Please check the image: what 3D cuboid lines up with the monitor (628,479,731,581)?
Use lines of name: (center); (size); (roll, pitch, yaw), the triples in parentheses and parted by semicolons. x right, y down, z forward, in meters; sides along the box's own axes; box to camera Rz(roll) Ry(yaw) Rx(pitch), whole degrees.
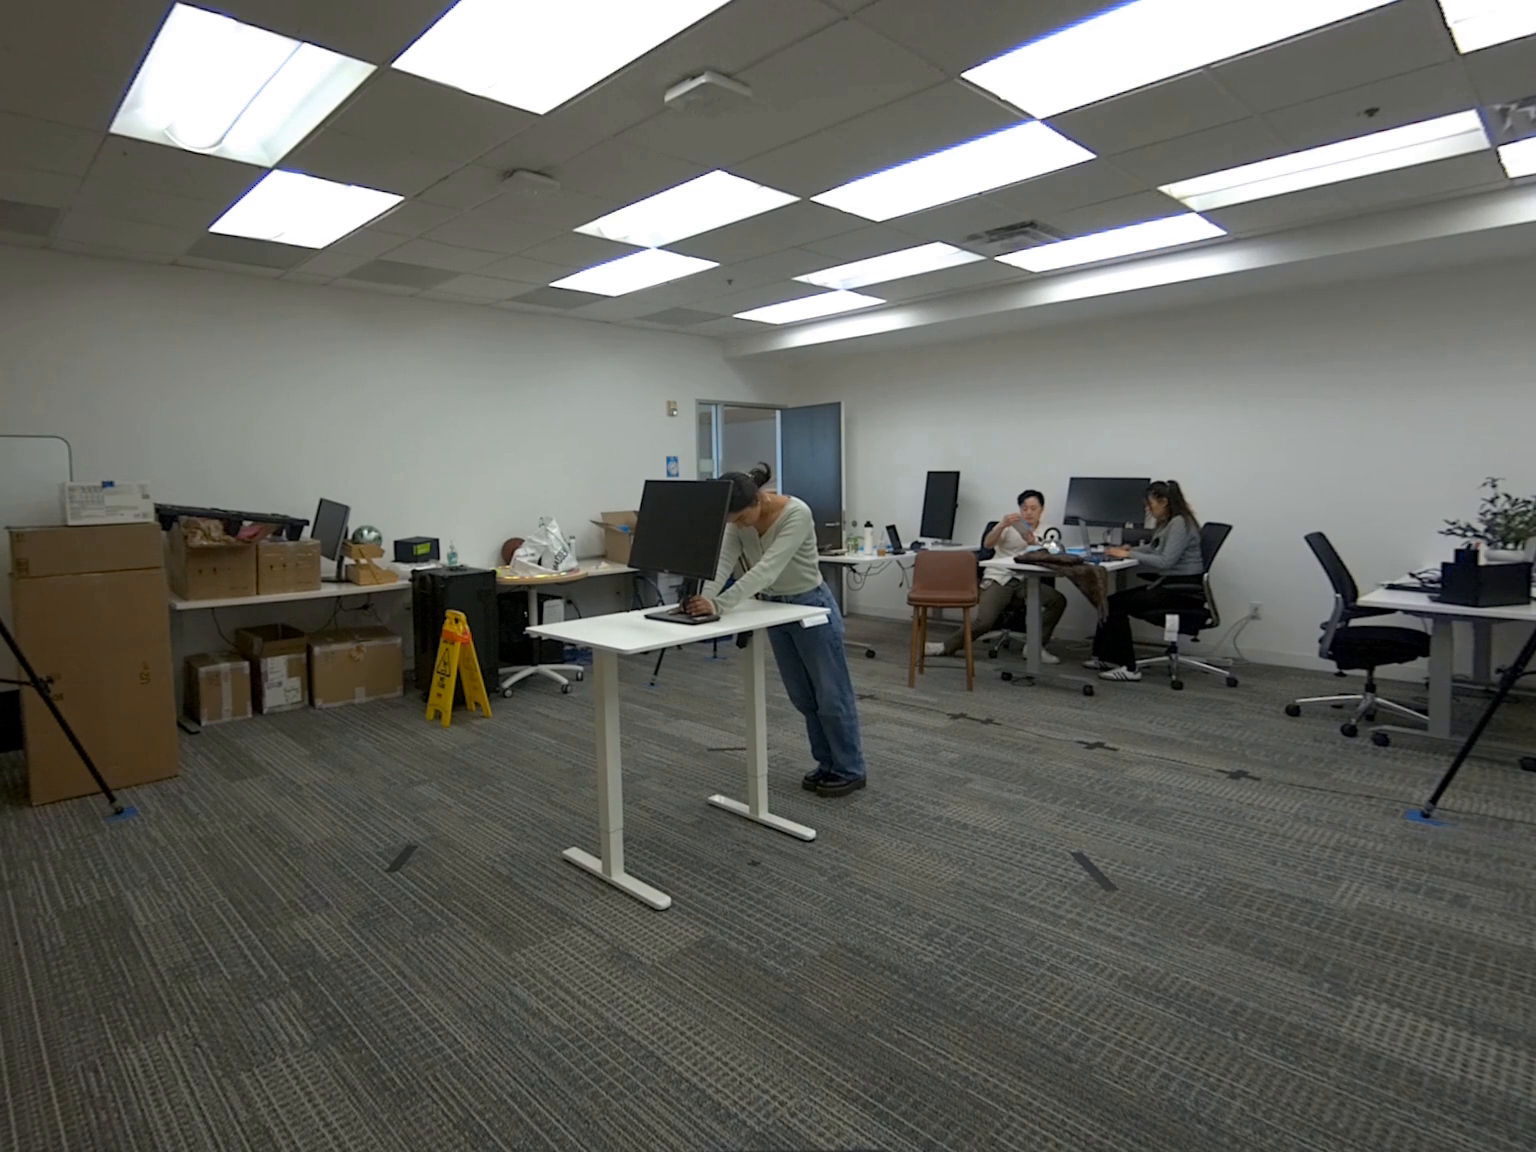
monitor: (-0.305, -0.093, 3.167); (0.182, 0.520, 0.556); (-4, 6, -43)
